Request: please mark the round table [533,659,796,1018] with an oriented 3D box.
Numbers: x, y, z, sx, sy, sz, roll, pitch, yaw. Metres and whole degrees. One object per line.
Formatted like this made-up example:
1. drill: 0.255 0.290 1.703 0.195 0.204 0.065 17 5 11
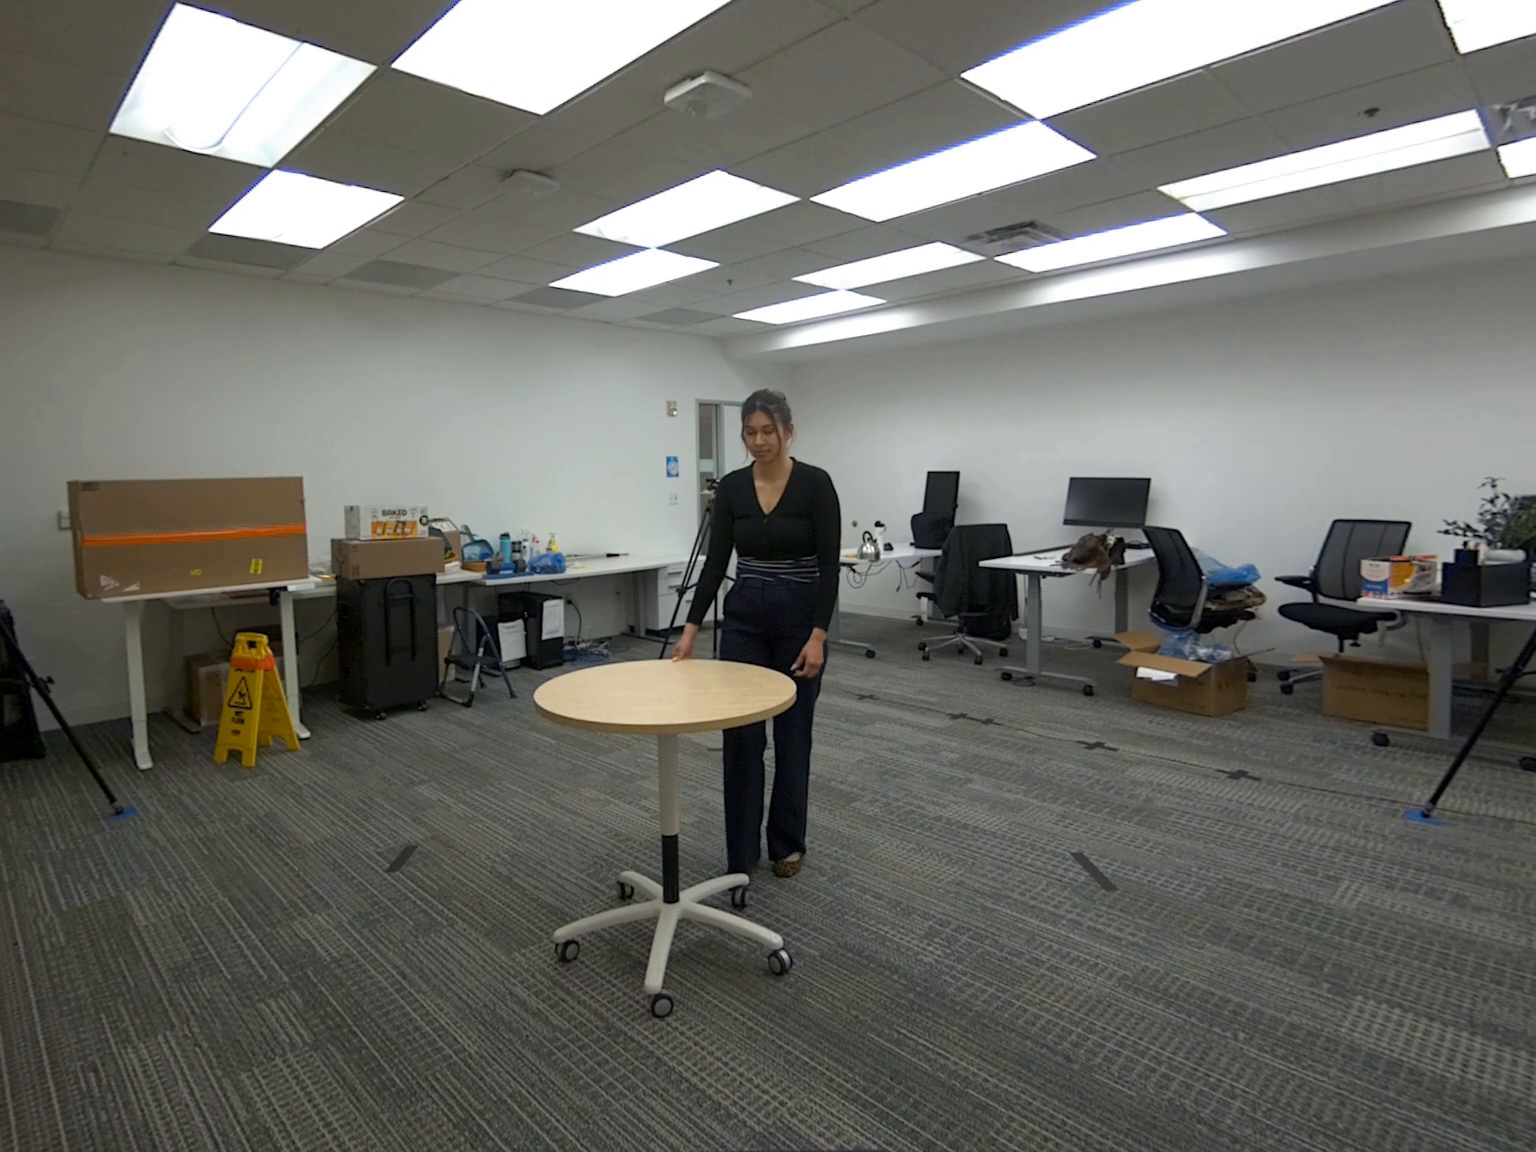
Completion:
1. round table: -0.289 0.725 2.542 0.763 0.791 0.768 -2 5 -2
